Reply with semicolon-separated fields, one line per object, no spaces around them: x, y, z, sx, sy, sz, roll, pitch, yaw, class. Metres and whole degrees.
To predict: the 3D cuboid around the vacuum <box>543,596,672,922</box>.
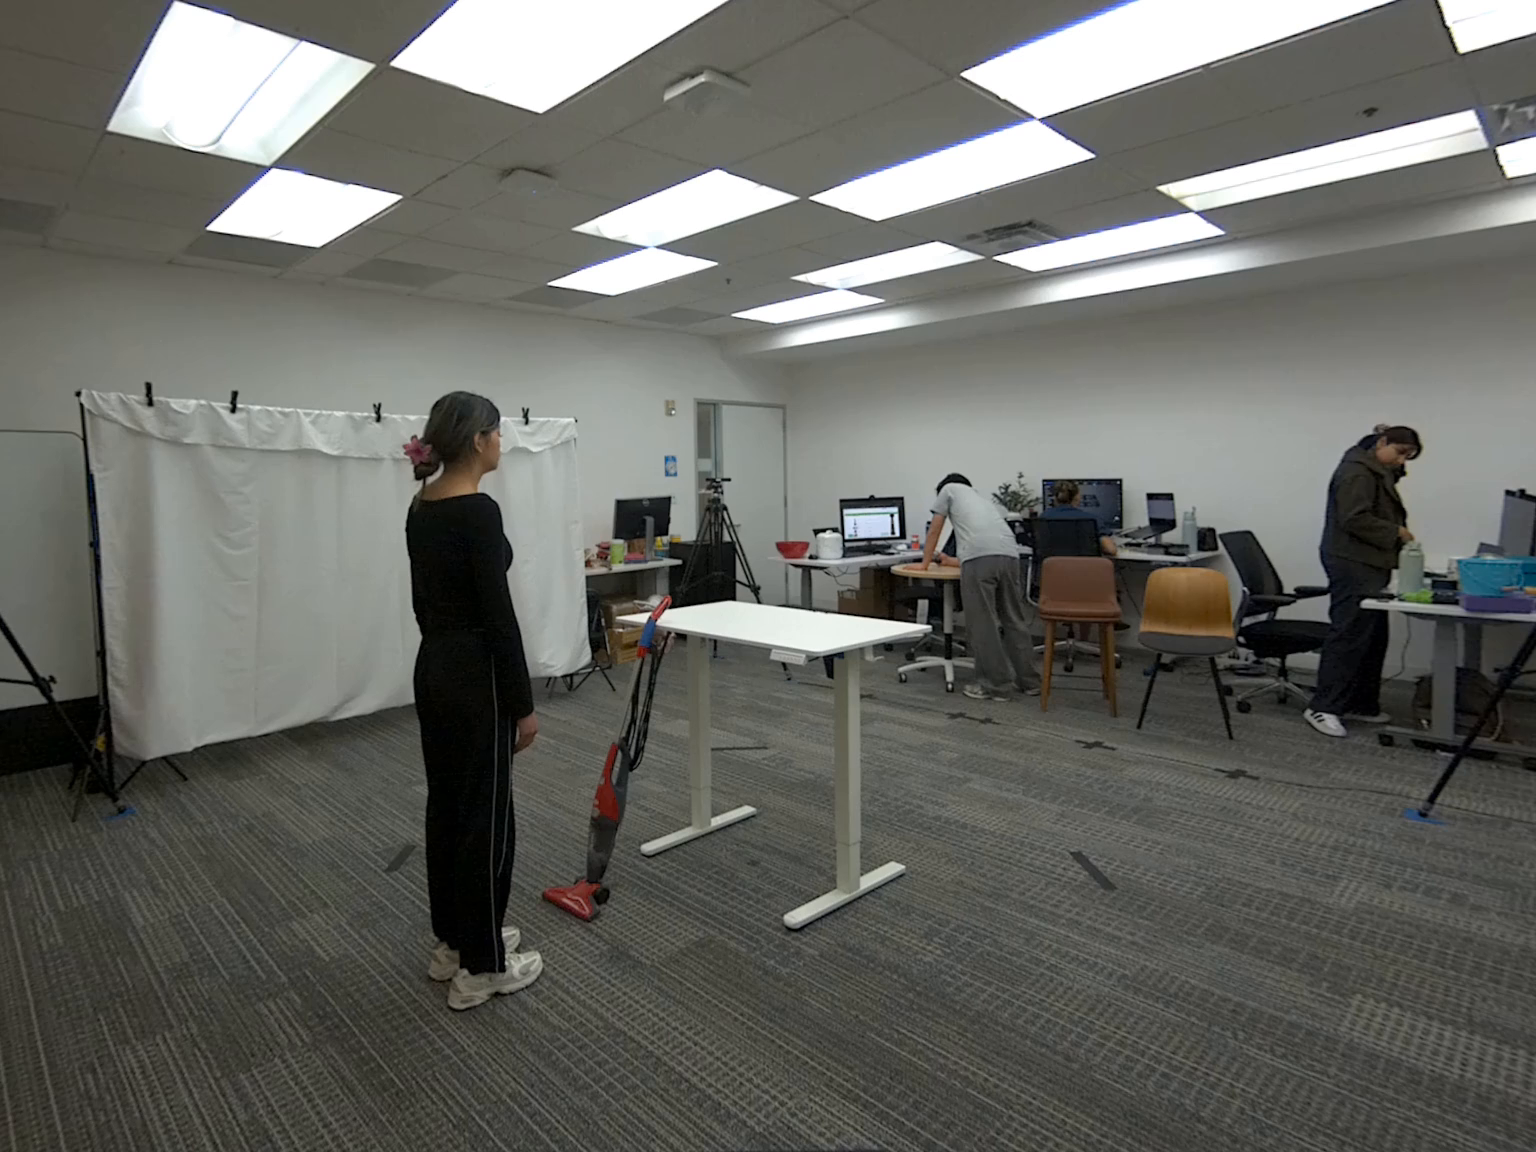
-0.495;0.586;2.960;0.260;1.059;0.138;1;-19;42;vacuum
